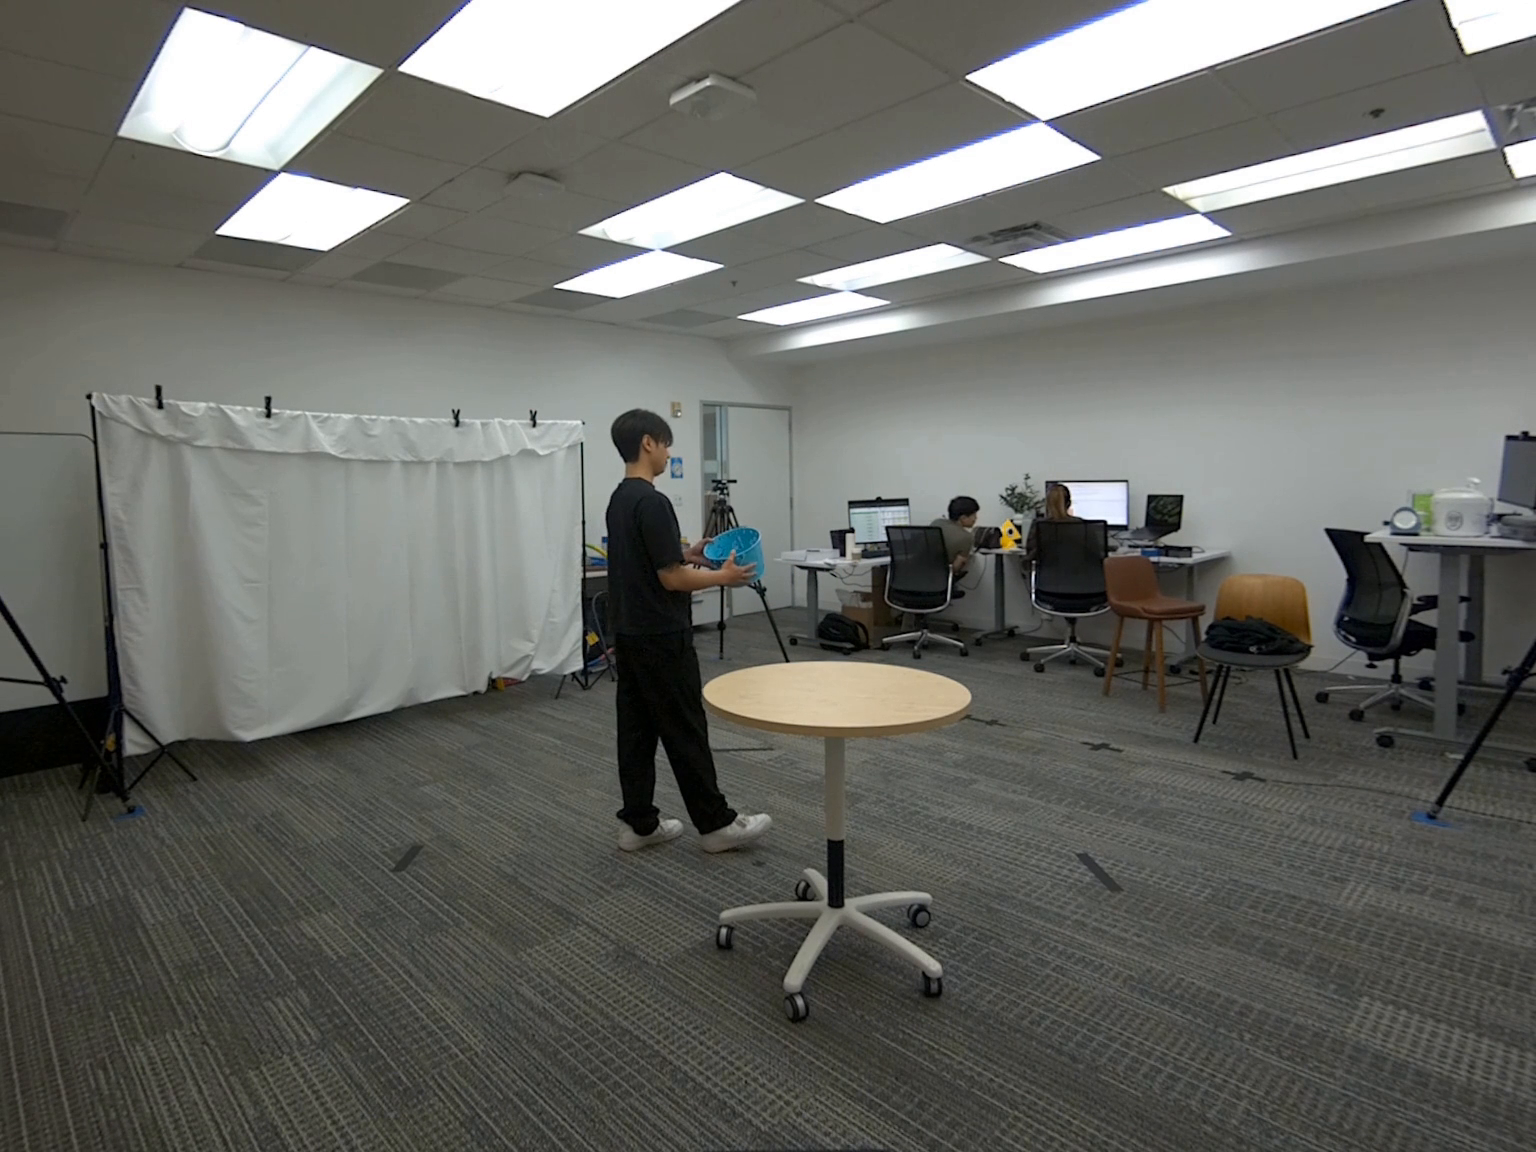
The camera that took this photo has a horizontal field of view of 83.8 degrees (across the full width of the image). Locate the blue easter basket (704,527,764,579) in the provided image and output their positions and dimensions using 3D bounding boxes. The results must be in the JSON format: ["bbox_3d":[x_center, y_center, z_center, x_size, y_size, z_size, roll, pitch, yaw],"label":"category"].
[{"bbox_3d":[-0.123,-0.064,3.351,0.245,0.151,0.249,-17,27,7],"label":"blue easter basket"}]
